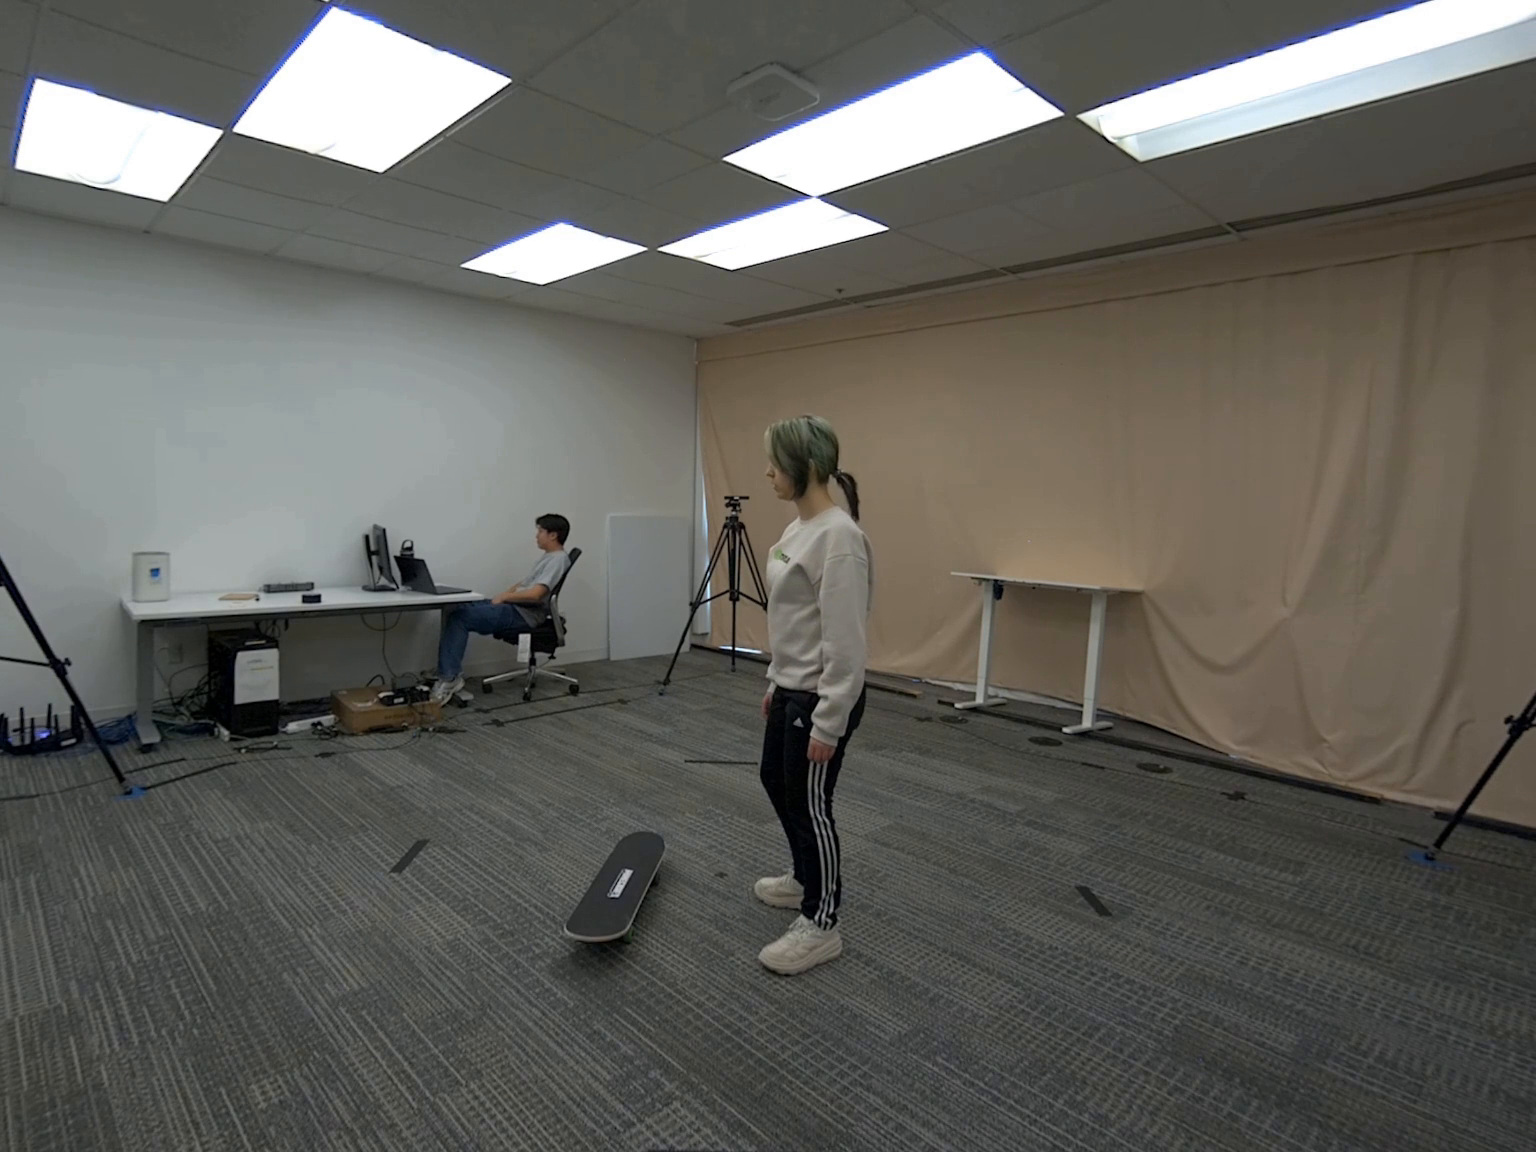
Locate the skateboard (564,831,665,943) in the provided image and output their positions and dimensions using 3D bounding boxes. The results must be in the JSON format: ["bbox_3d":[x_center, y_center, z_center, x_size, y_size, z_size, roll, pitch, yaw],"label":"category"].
[{"bbox_3d":[-0.504,1.065,2.828,0.194,0.110,0.784,1,5,5],"label":"skateboard"}]
